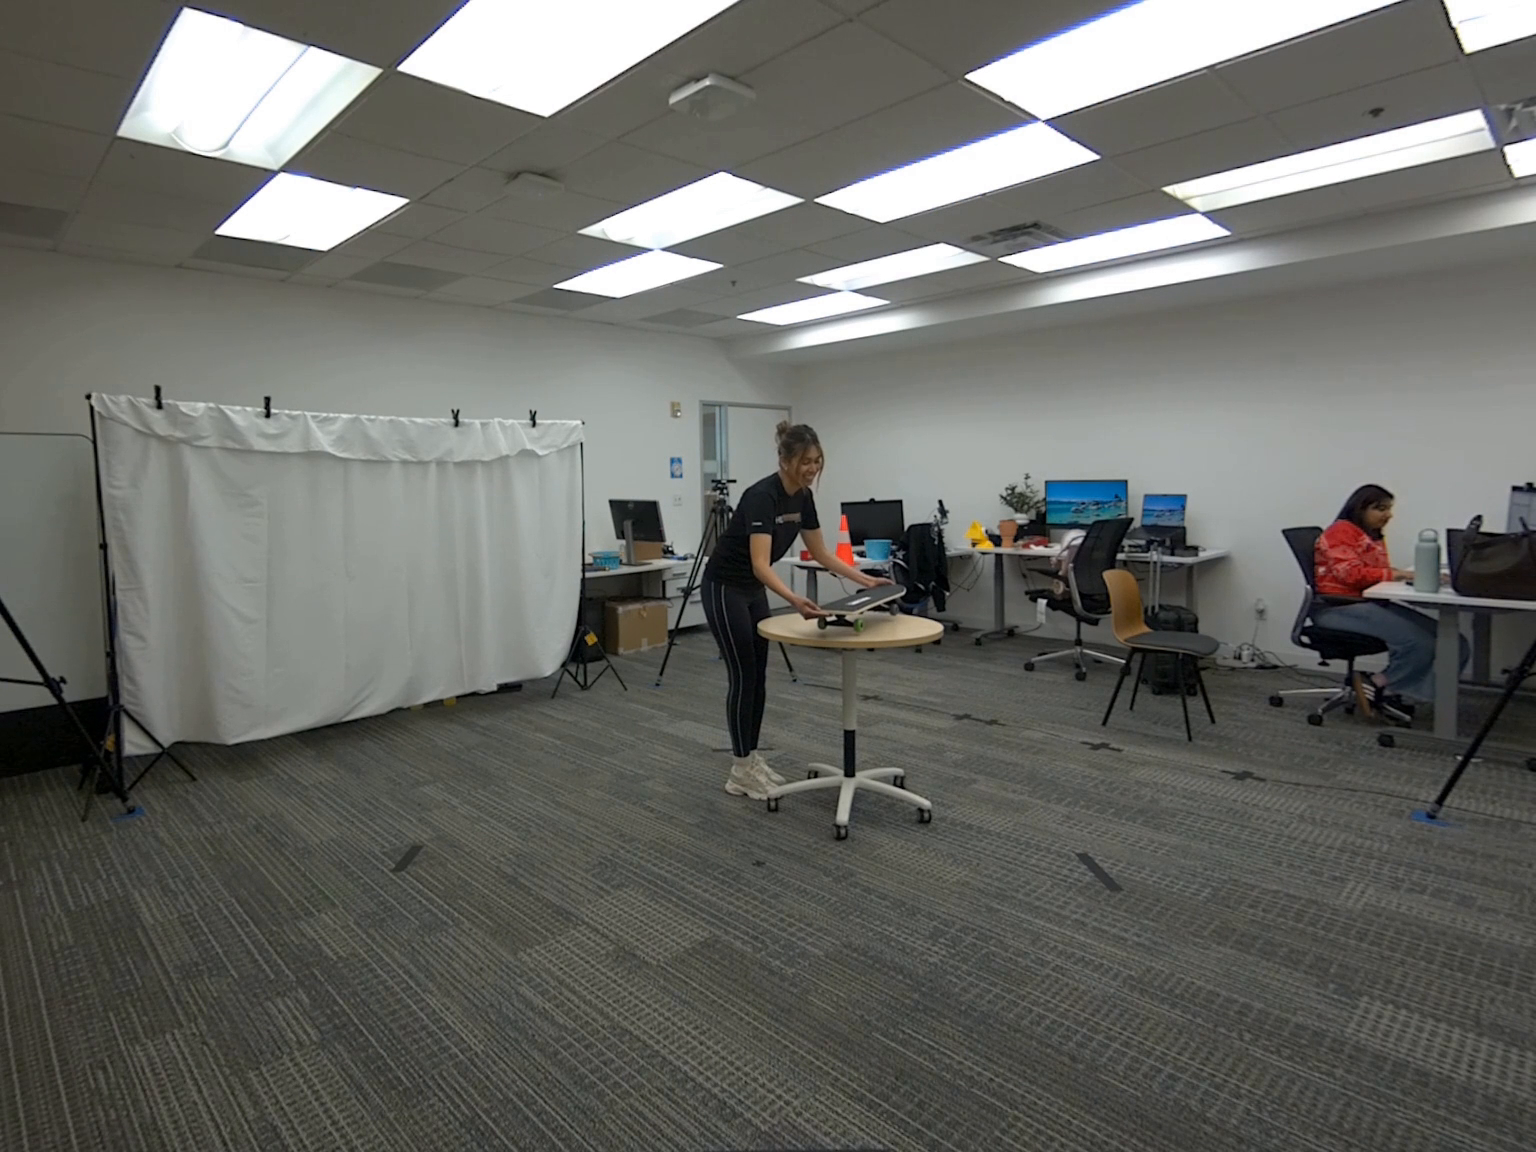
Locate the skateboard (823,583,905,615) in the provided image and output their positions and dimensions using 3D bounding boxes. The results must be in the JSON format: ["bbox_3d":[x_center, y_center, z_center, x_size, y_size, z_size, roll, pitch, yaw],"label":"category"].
[{"bbox_3d":[0.367,0.139,3.544,0.198,0.110,0.769,2,8,31],"label":"skateboard"}]
